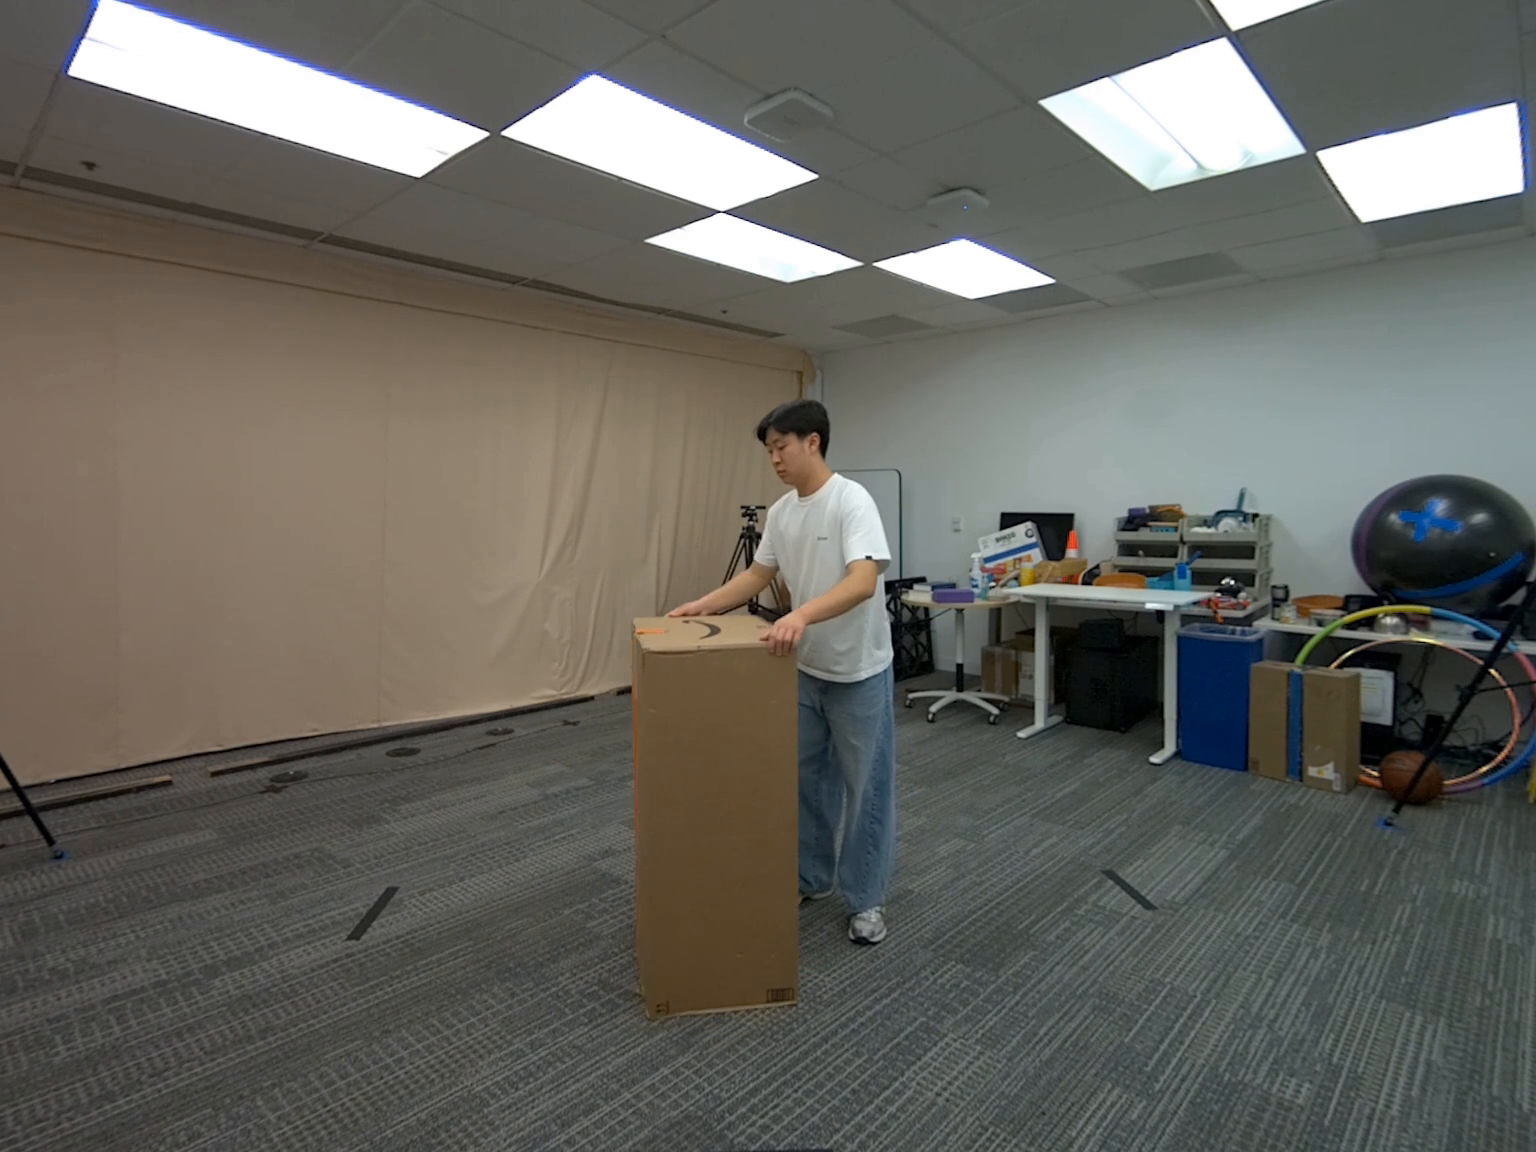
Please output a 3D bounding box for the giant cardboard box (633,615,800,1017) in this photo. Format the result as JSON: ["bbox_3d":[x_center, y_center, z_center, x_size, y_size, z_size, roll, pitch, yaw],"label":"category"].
[{"bbox_3d":[-0.182,0.671,2.559,0.422,1.024,0.585,-1,3,-11],"label":"giant cardboard box"}]
